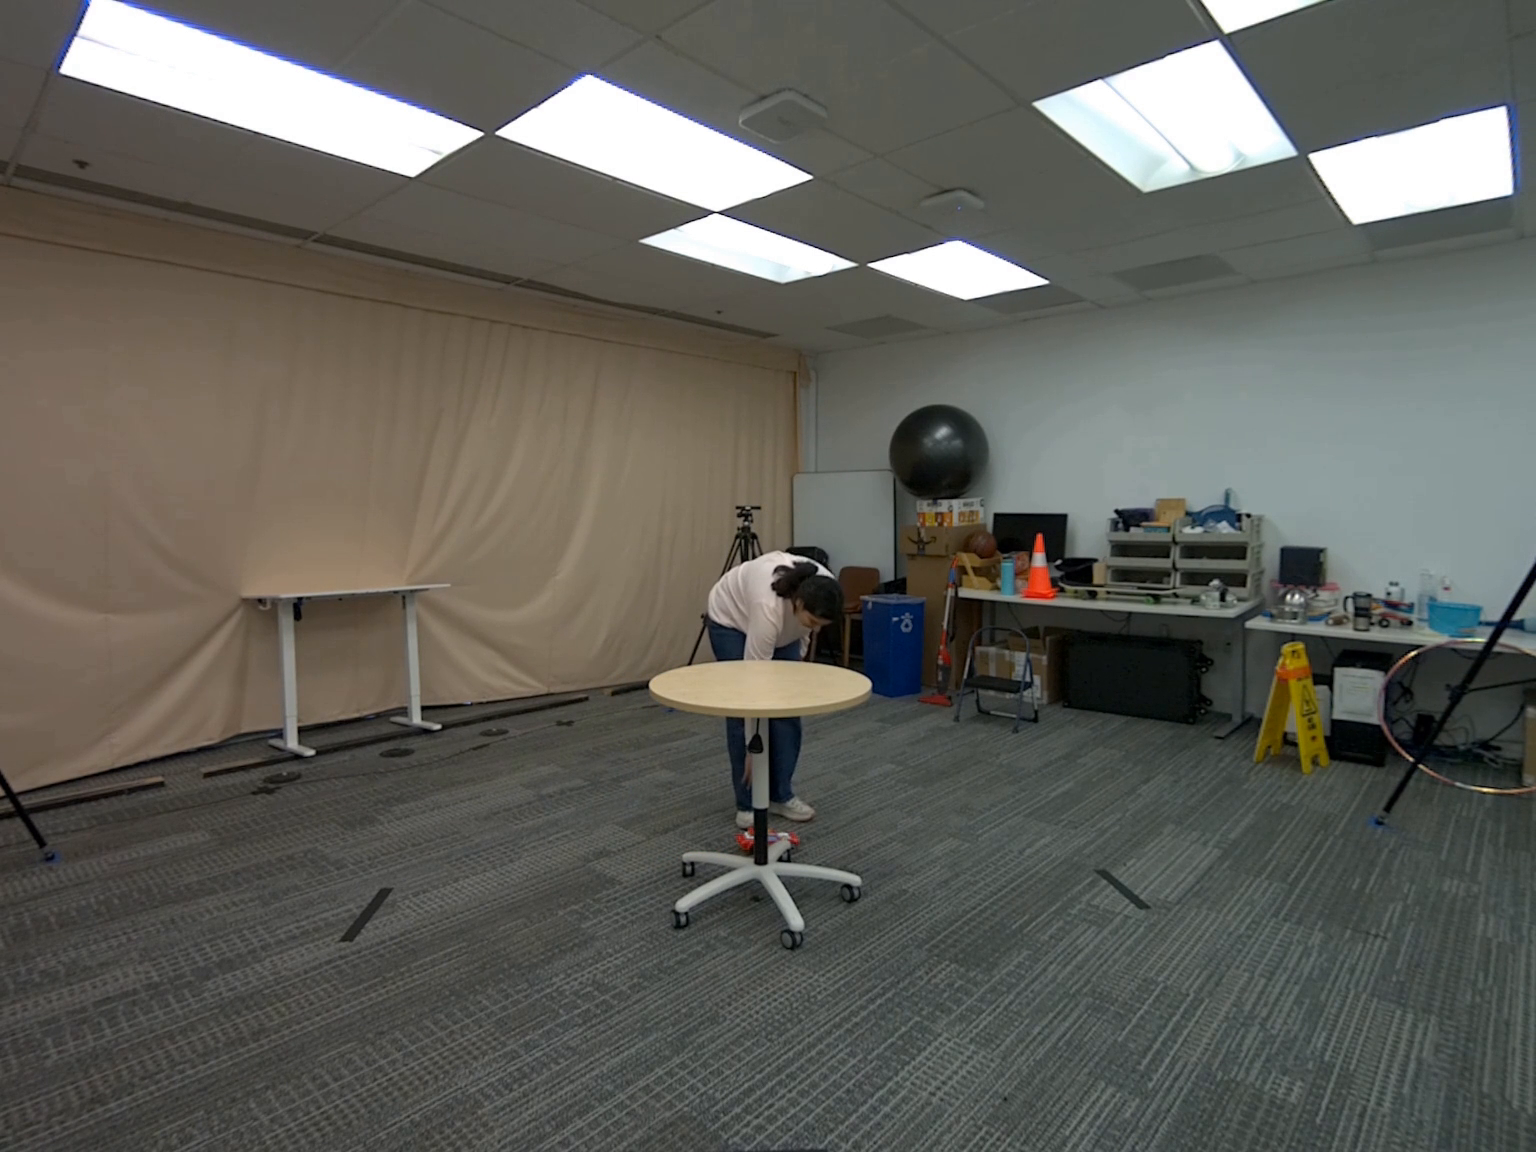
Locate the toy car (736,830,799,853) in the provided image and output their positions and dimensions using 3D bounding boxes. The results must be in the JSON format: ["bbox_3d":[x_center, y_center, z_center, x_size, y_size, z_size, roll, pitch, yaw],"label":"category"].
[{"bbox_3d":[-0.021,1.063,3.399,0.251,0.083,0.132,11,0,-12],"label":"toy car"}]
